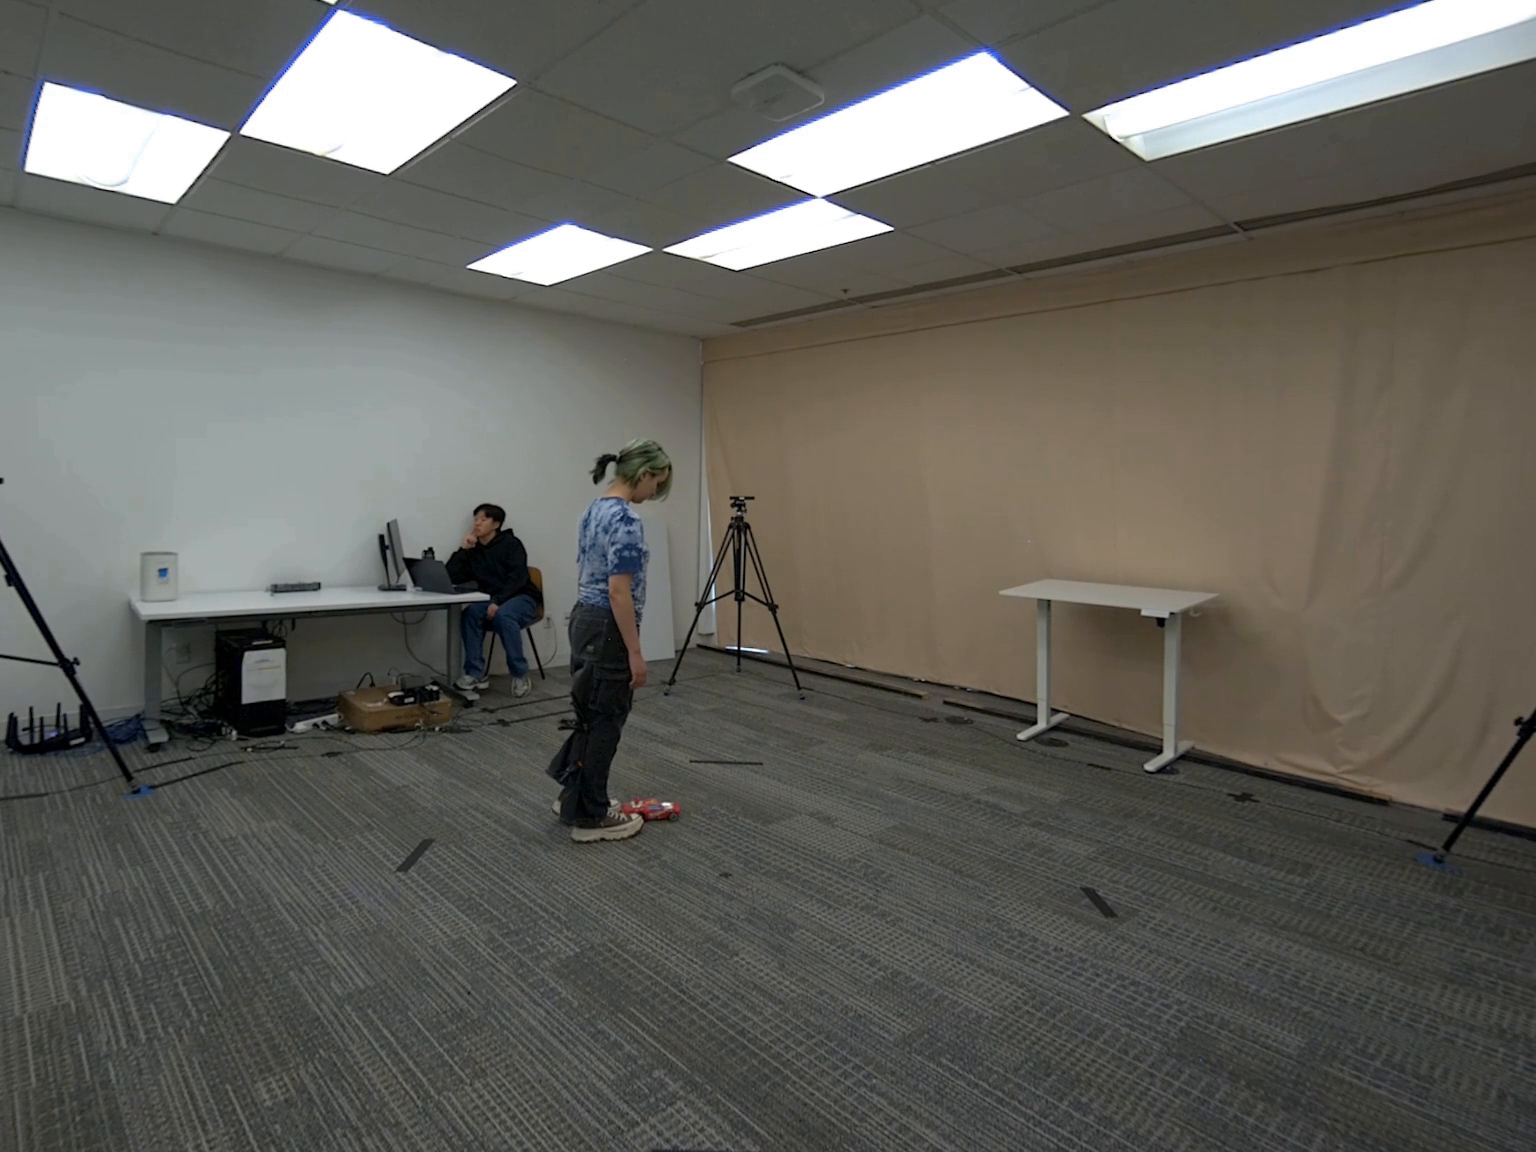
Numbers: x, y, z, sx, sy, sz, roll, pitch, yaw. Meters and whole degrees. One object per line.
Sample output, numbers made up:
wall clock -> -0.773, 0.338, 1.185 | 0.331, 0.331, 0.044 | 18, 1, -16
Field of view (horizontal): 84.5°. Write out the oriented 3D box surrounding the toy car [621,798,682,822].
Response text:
toy car -> -0.522, 1.018, 3.644 | 0.251, 0.083, 0.132 | 11, 1, -13
